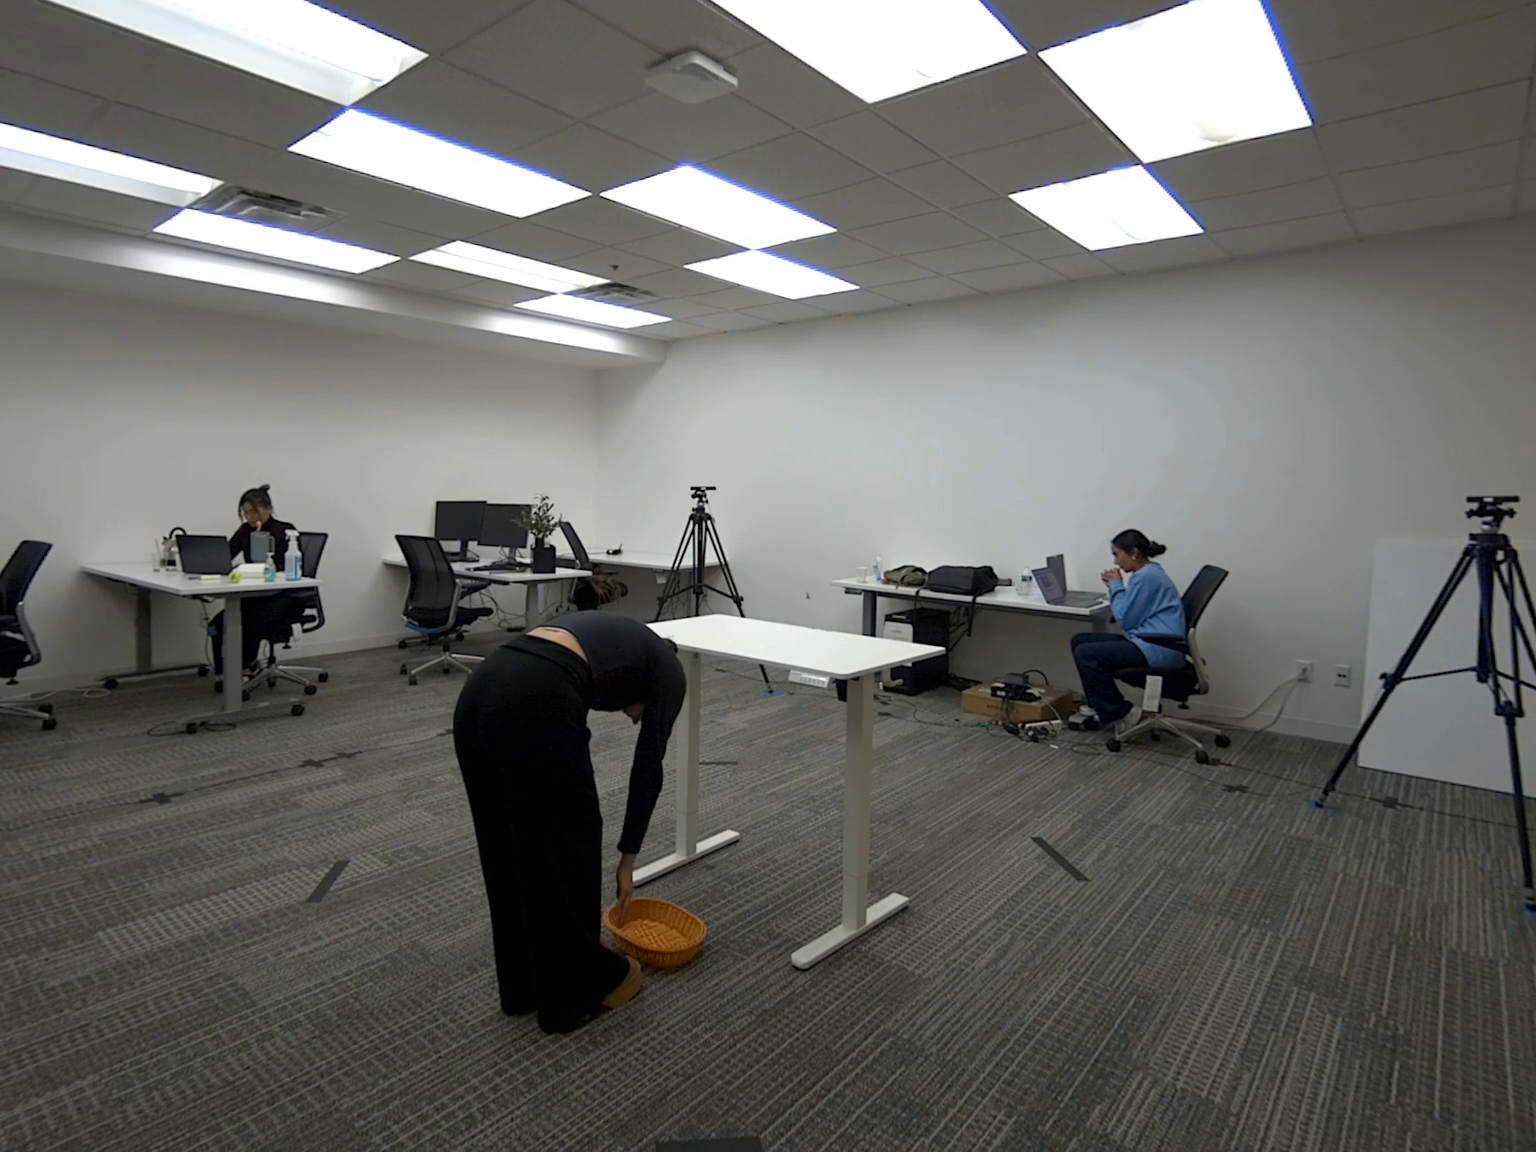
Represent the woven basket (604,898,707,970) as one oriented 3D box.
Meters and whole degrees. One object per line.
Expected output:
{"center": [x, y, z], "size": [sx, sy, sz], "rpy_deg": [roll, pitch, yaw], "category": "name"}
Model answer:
{"center": [-0.349, 1.071, 2.570], "size": [0.245, 0.073, 0.363], "rpy_deg": [-3, 8, -43], "category": "woven basket"}
